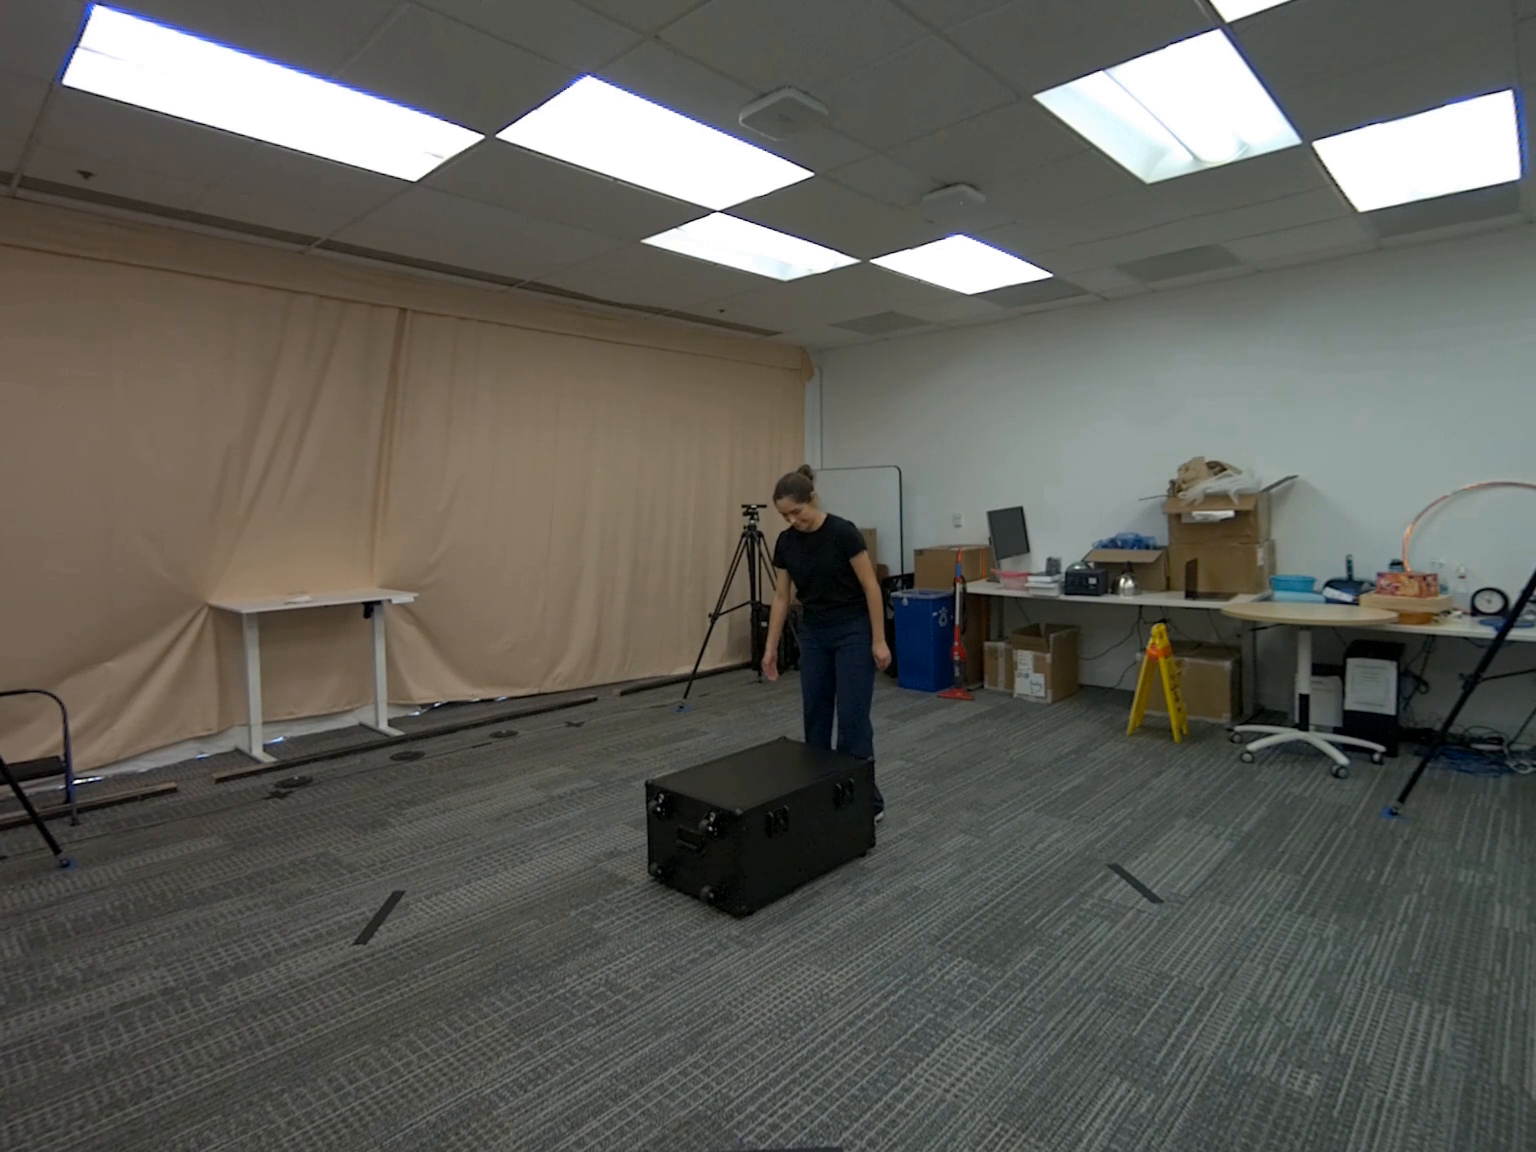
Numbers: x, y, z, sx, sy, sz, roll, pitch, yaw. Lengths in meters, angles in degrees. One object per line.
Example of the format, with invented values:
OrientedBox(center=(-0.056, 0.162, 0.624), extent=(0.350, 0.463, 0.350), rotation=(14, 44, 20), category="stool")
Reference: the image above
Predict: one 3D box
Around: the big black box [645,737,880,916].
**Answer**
OrientedBox(center=(-0.026, 0.930, 3.217), extent=(0.538, 0.395, 0.835), rotation=(2, 5, 43), category="big black box")
